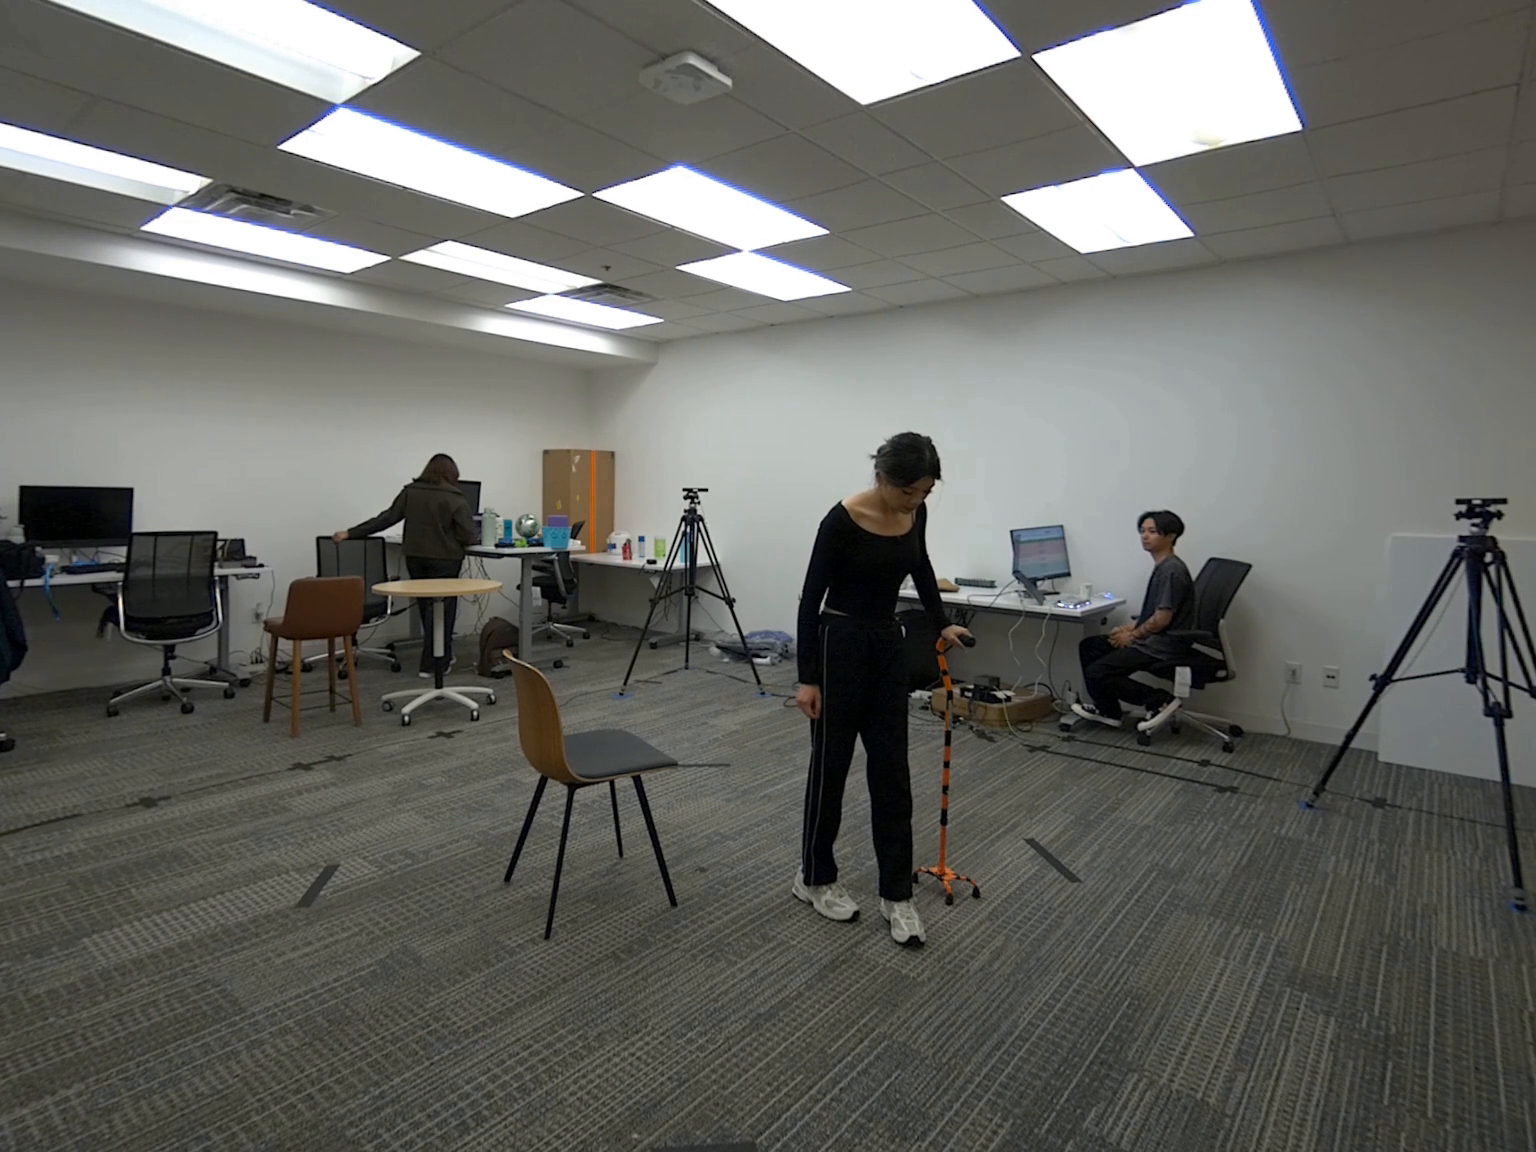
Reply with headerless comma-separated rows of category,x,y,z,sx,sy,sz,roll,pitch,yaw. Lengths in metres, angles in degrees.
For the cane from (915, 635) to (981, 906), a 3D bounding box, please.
cane,0.643,0.651,2.980,0.147,0.904,0.213,1,5,-29
